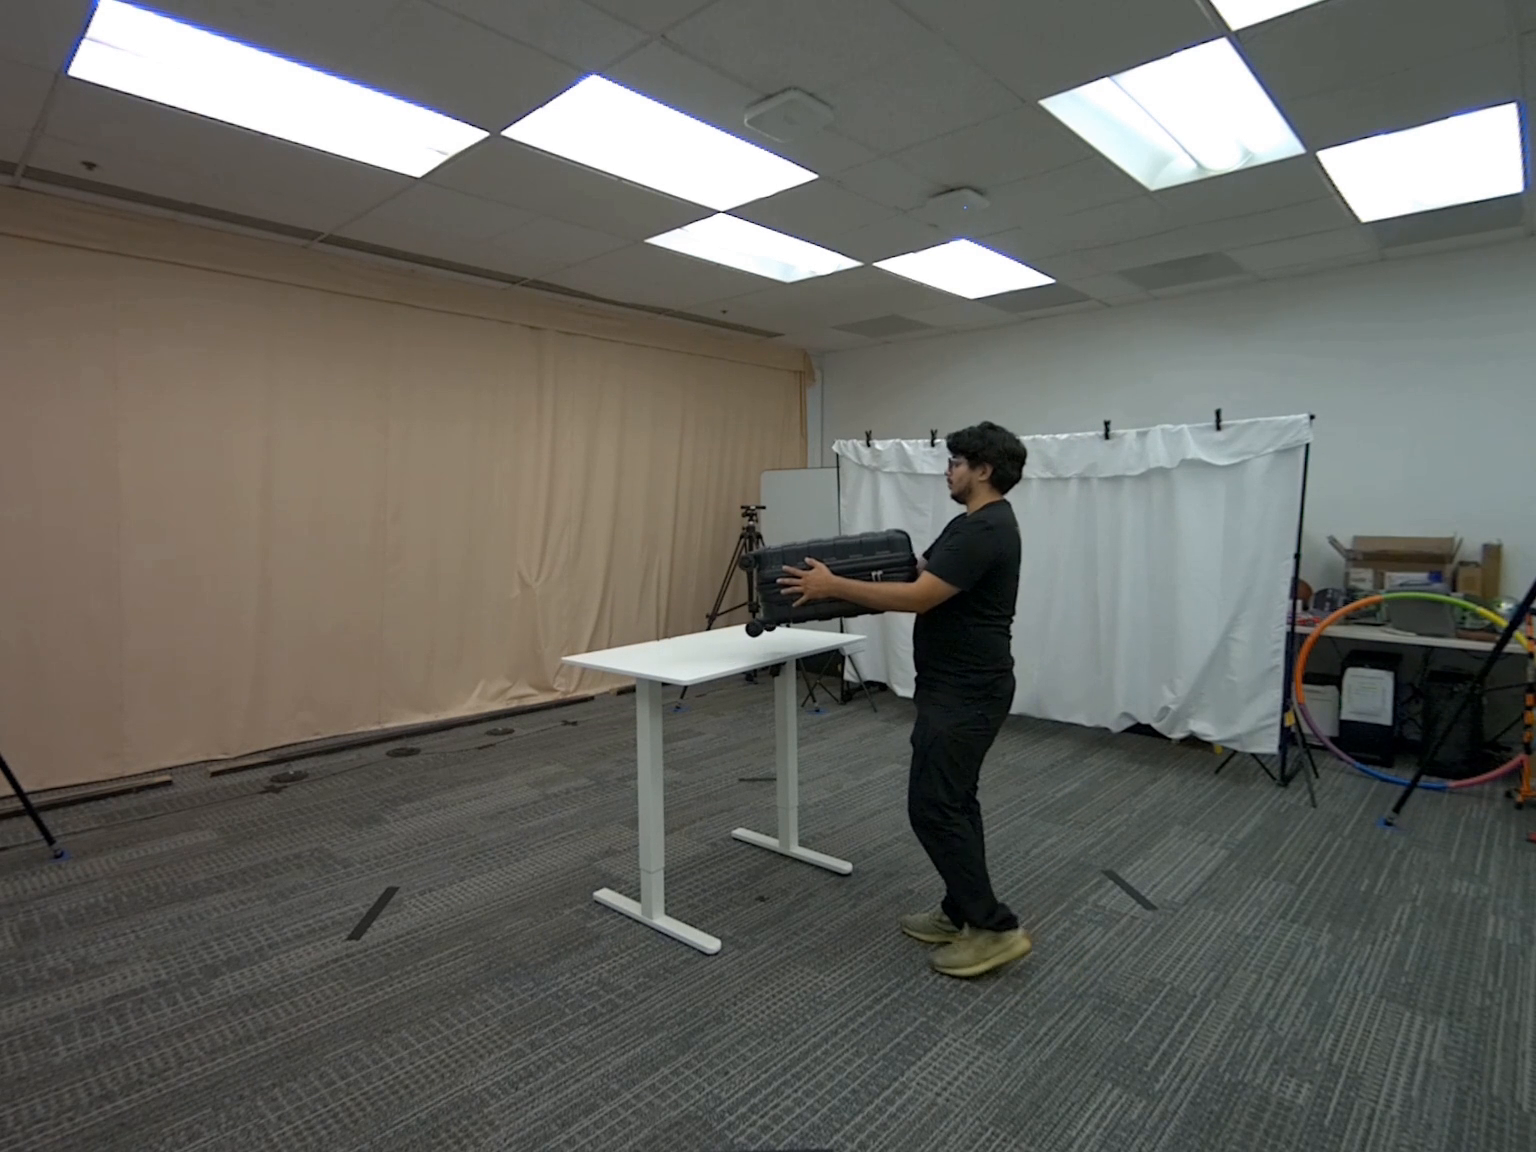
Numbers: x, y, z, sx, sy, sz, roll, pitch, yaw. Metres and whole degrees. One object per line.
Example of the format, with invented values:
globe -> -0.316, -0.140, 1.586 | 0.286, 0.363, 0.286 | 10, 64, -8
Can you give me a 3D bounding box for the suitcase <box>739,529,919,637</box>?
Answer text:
suitcase -> 0.214, 0.010, 2.721 | 0.556, 0.249, 0.370 | -9, -3, 12
